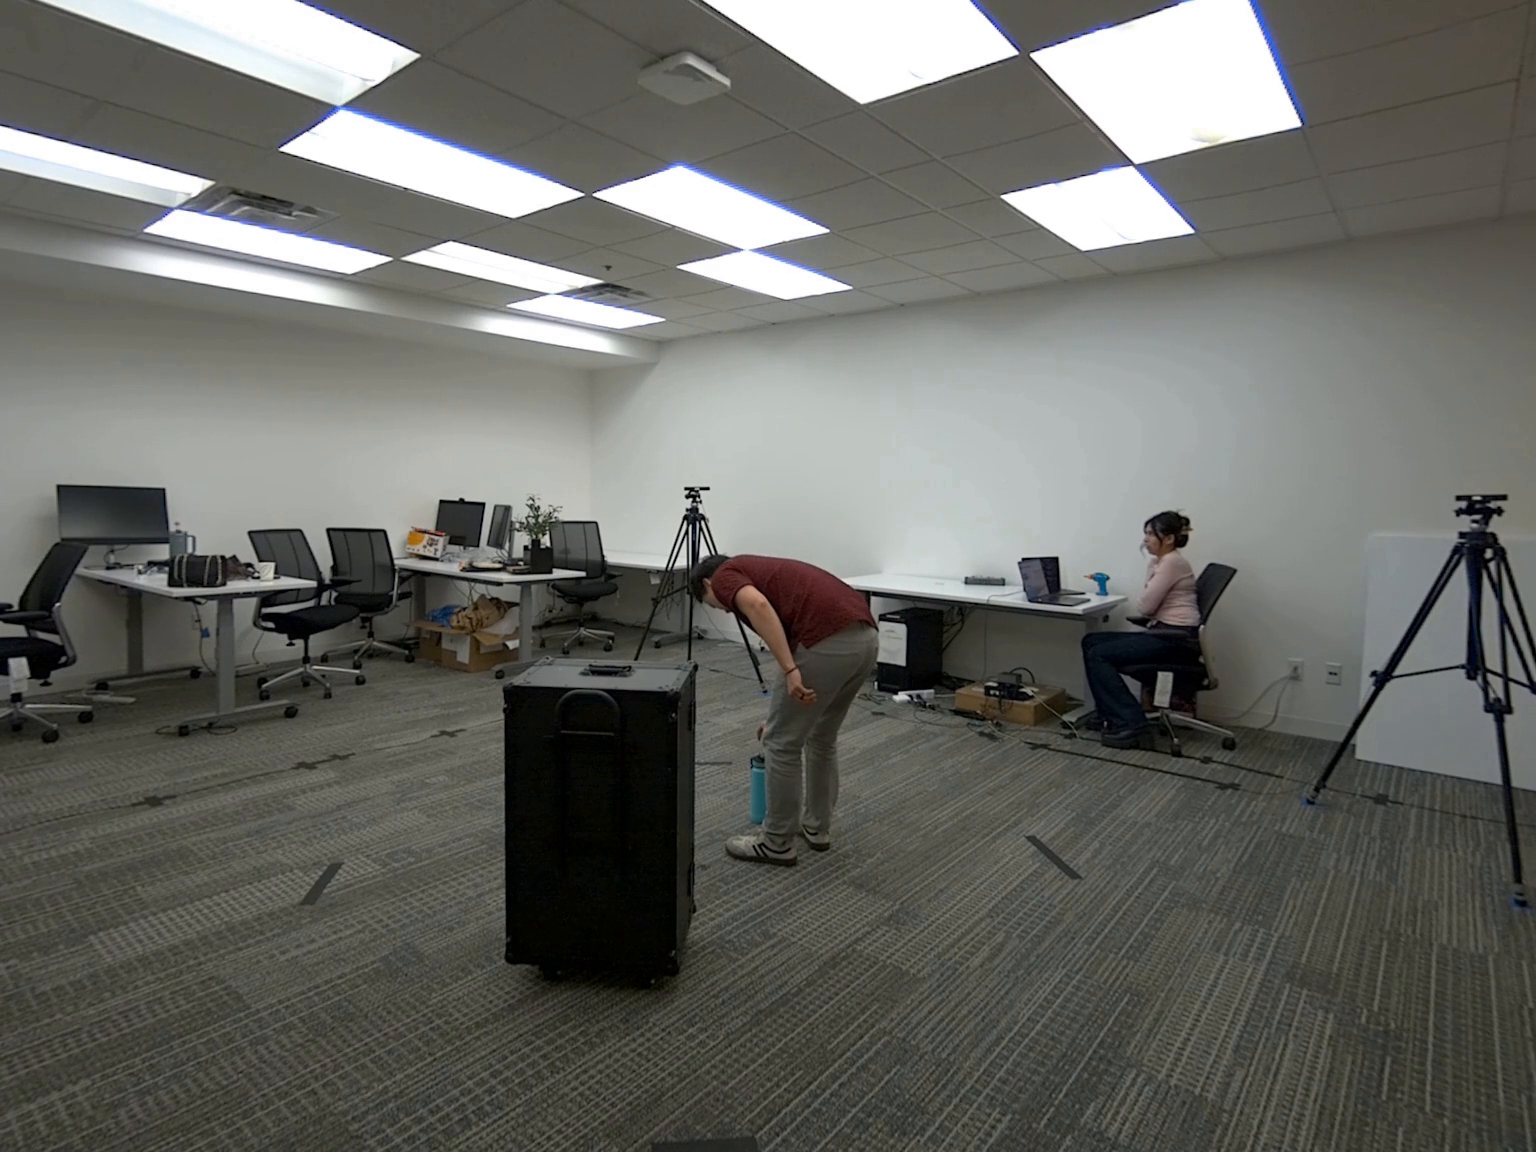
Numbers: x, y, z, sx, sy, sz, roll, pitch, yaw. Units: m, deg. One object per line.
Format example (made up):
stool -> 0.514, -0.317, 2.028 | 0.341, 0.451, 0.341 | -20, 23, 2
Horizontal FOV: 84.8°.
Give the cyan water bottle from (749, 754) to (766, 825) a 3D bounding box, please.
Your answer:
cyan water bottle -> -0.044, 0.877, 3.565 | 0.092, 0.282, 0.093 | 0, 5, -2
